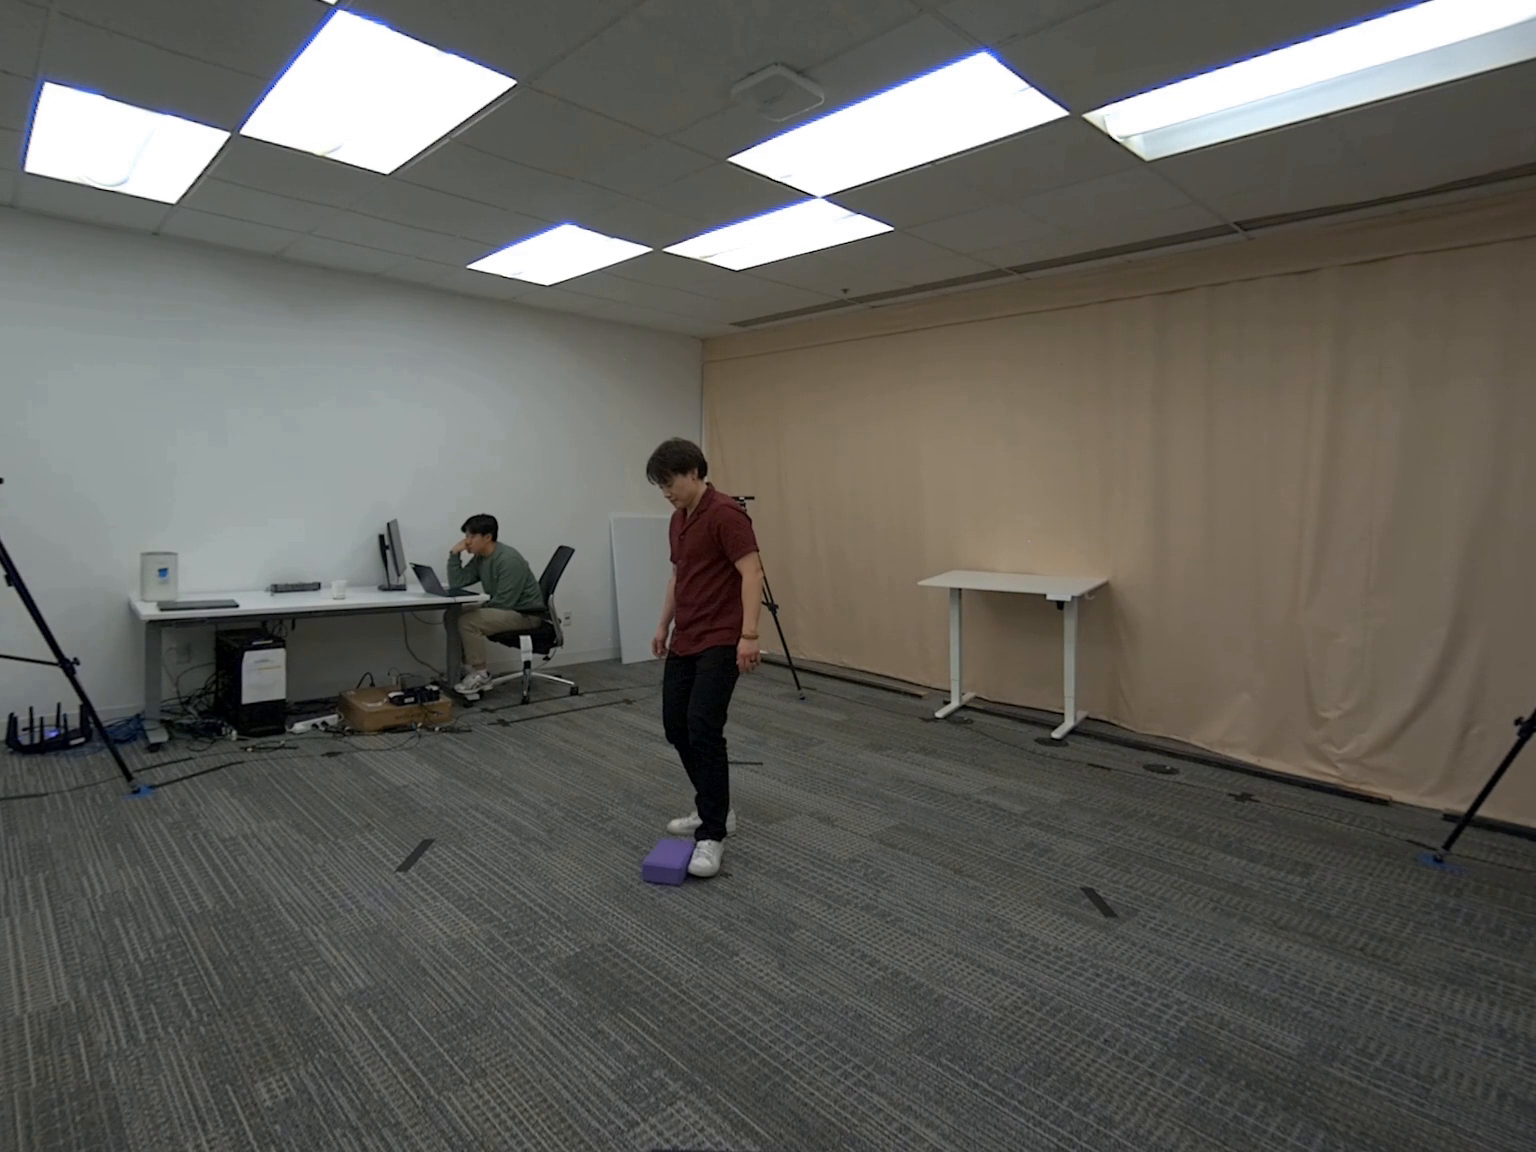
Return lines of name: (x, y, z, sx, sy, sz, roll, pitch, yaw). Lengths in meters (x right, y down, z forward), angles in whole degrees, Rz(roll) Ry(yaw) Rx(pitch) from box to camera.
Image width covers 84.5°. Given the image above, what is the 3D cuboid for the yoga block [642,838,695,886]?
yoga block: (-0.376, 1.051, 3.123, 0.150, 0.076, 0.227, 2, 6, 12)
